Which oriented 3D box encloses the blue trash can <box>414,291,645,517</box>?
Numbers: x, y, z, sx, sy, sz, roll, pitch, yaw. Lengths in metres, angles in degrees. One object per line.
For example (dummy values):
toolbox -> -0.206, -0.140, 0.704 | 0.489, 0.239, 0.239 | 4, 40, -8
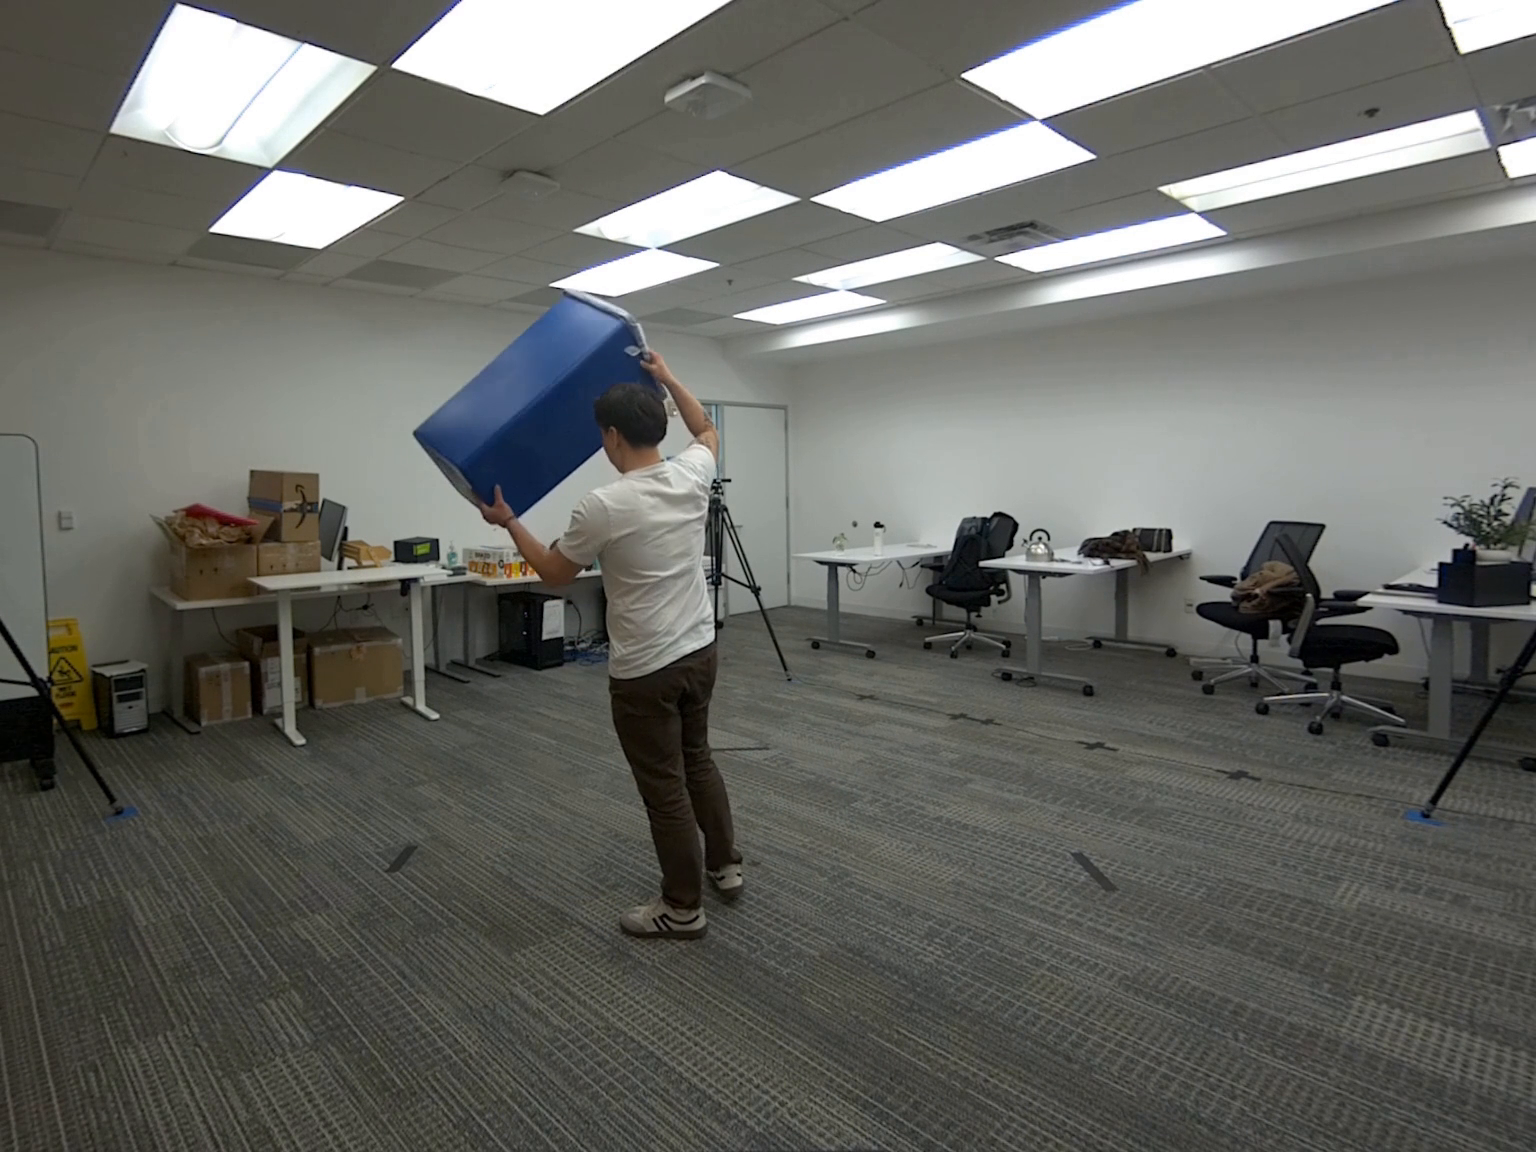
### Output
blue trash can -> -0.732, -0.535, 2.794 | 0.392, 0.713, 0.360 | 32, -20, 34
